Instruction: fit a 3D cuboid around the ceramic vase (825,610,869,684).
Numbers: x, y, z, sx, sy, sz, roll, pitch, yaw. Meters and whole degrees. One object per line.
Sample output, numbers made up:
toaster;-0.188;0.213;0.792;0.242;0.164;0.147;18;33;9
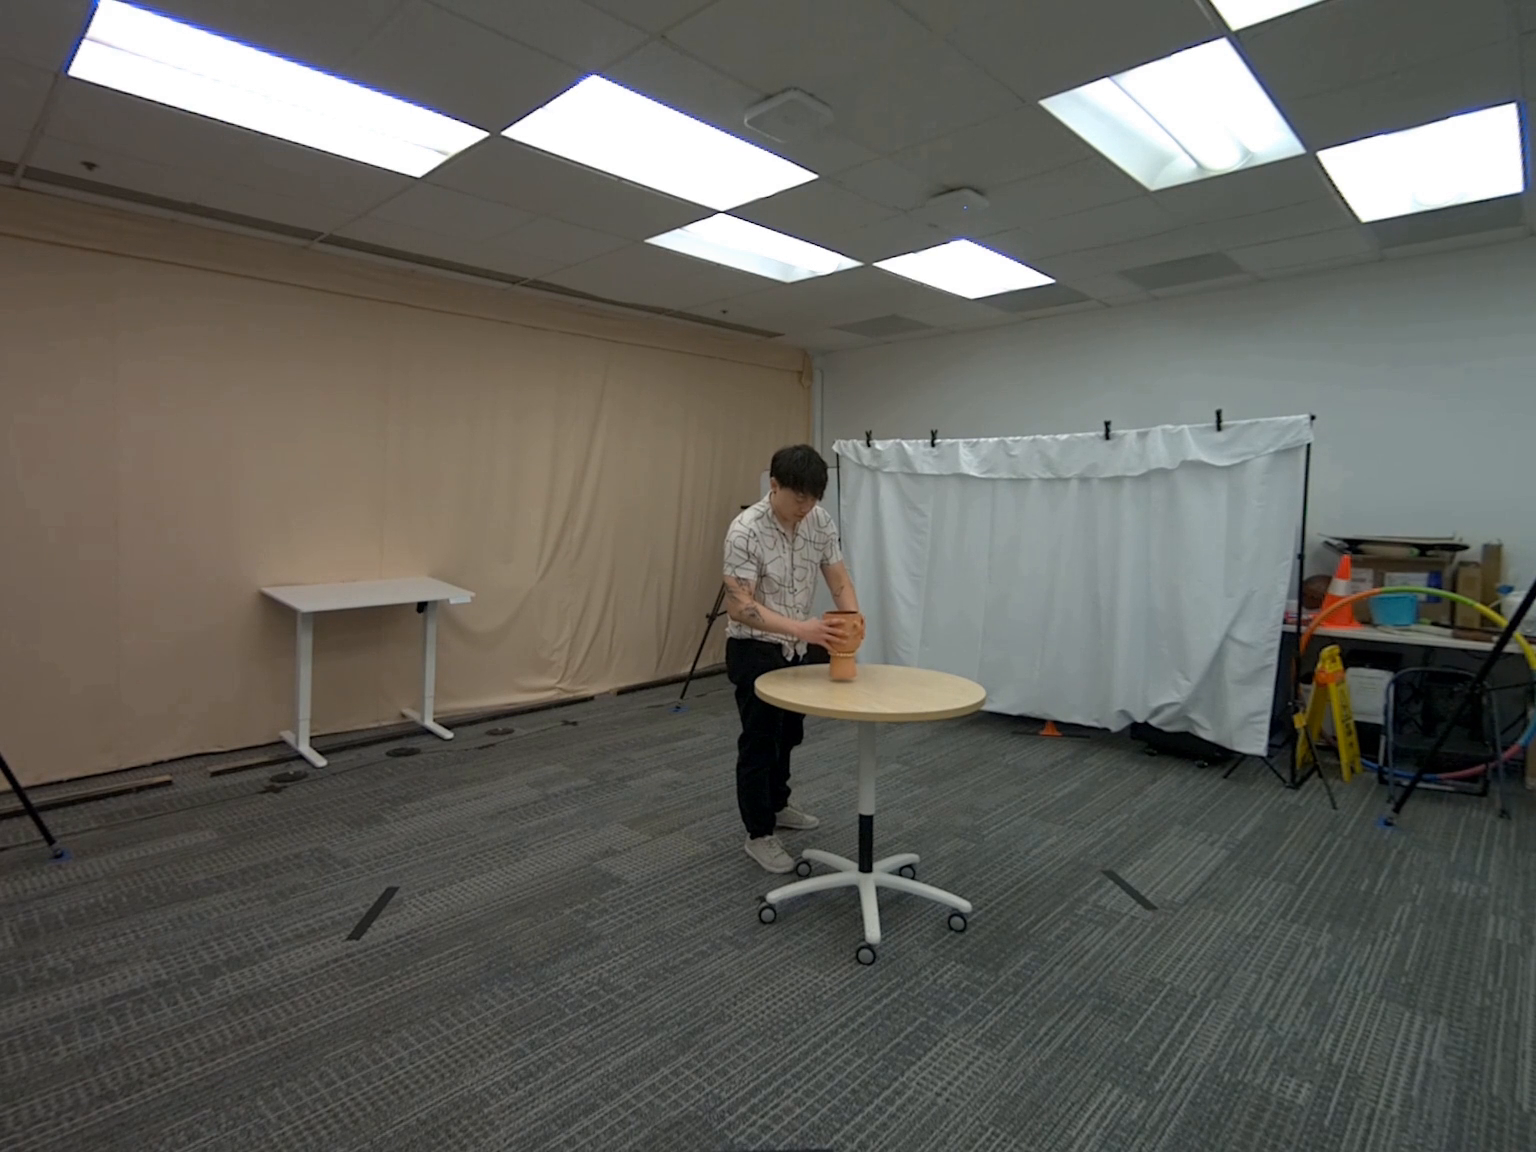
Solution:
ceramic vase;0.268;0.238;2.900;0.136;0.219;0.158;-2;4;6
